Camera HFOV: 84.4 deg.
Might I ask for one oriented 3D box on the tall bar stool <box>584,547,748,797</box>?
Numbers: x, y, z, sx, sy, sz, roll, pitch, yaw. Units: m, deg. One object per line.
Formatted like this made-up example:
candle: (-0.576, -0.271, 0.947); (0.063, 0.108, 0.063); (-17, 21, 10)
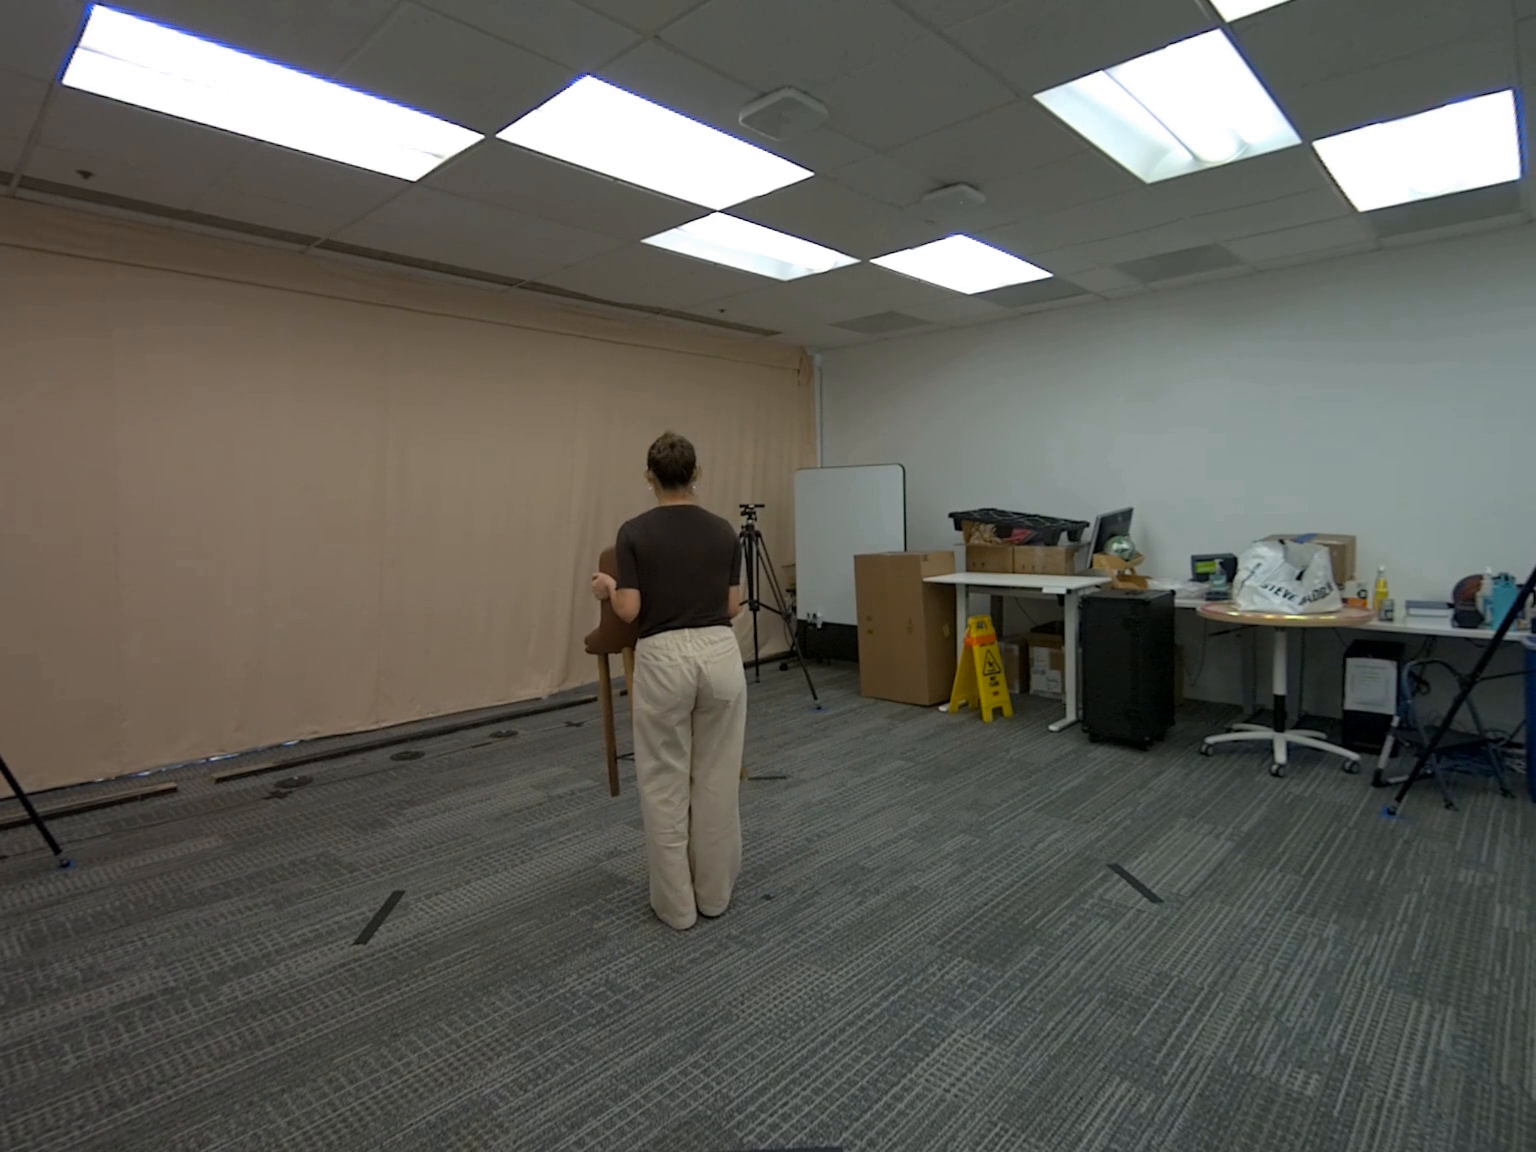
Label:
tall bar stool: (-0.410, 0.342, 3.111); (0.447, 0.895, 0.475); (-8, -7, -24)
